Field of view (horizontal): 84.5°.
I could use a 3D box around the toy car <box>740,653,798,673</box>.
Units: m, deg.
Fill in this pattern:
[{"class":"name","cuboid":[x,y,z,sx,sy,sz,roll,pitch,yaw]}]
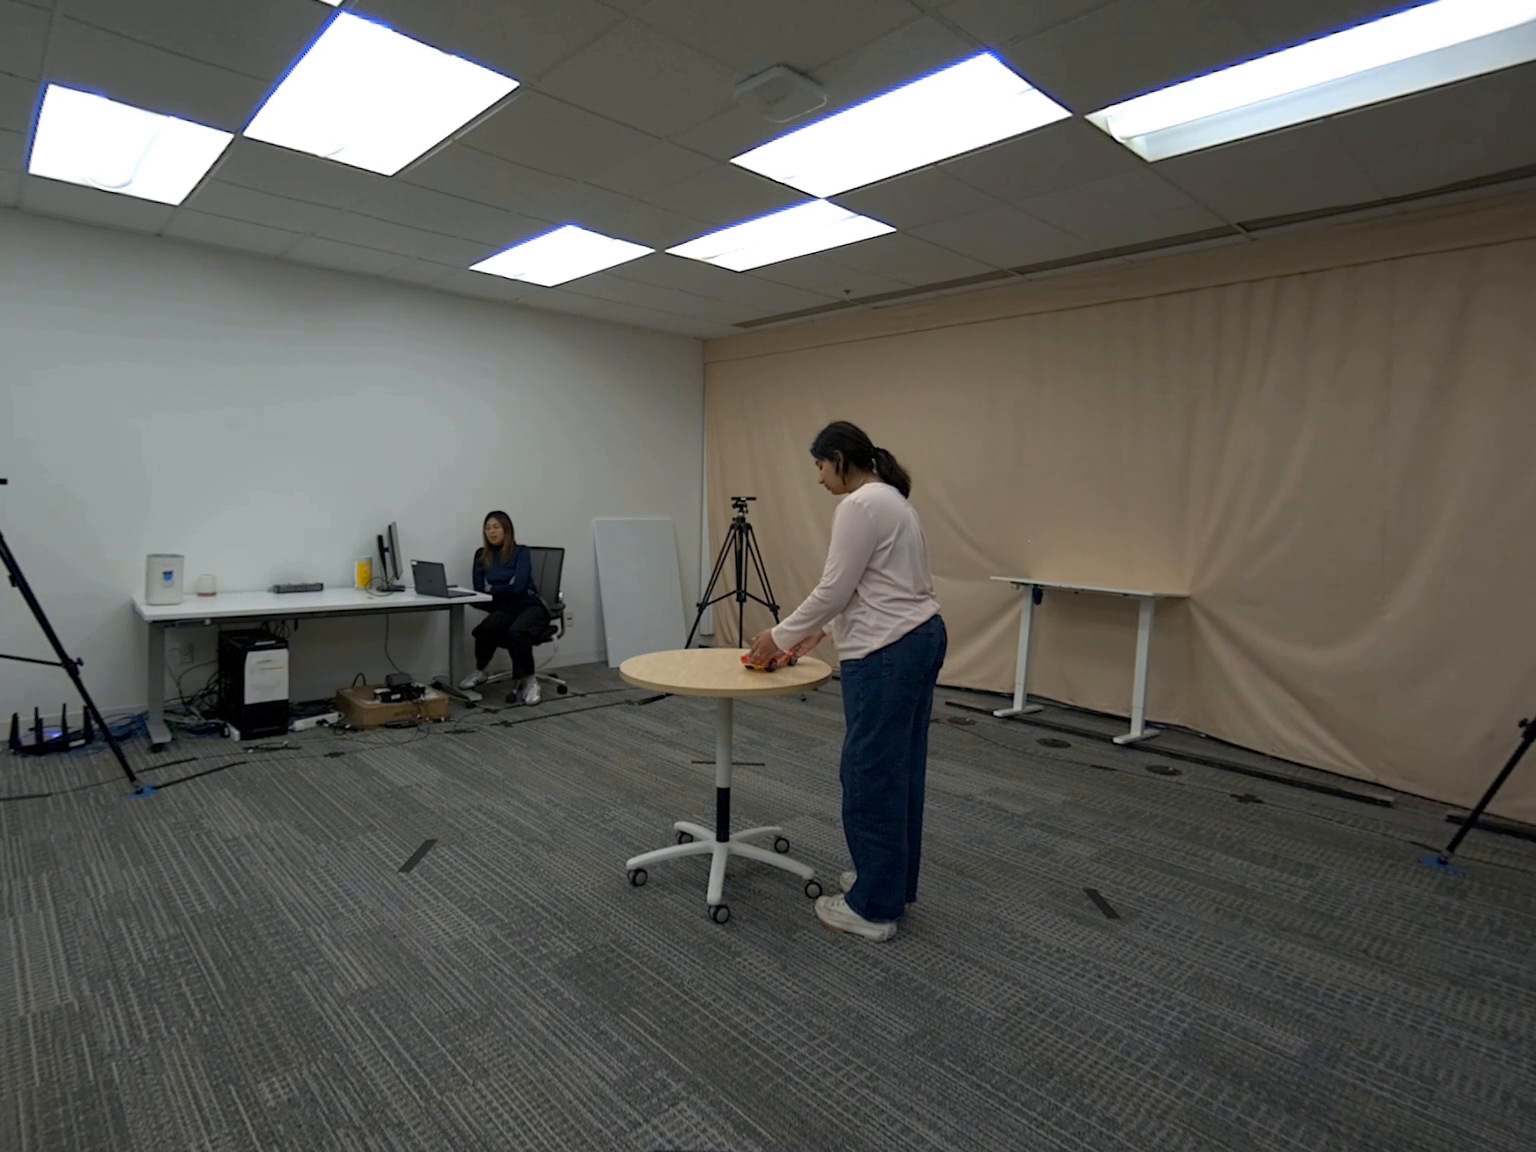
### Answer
[{"class":"toy car","cuboid":[-0.009,0.299,3.029,0.133,0.083,0.248,2,-7,34]}]
